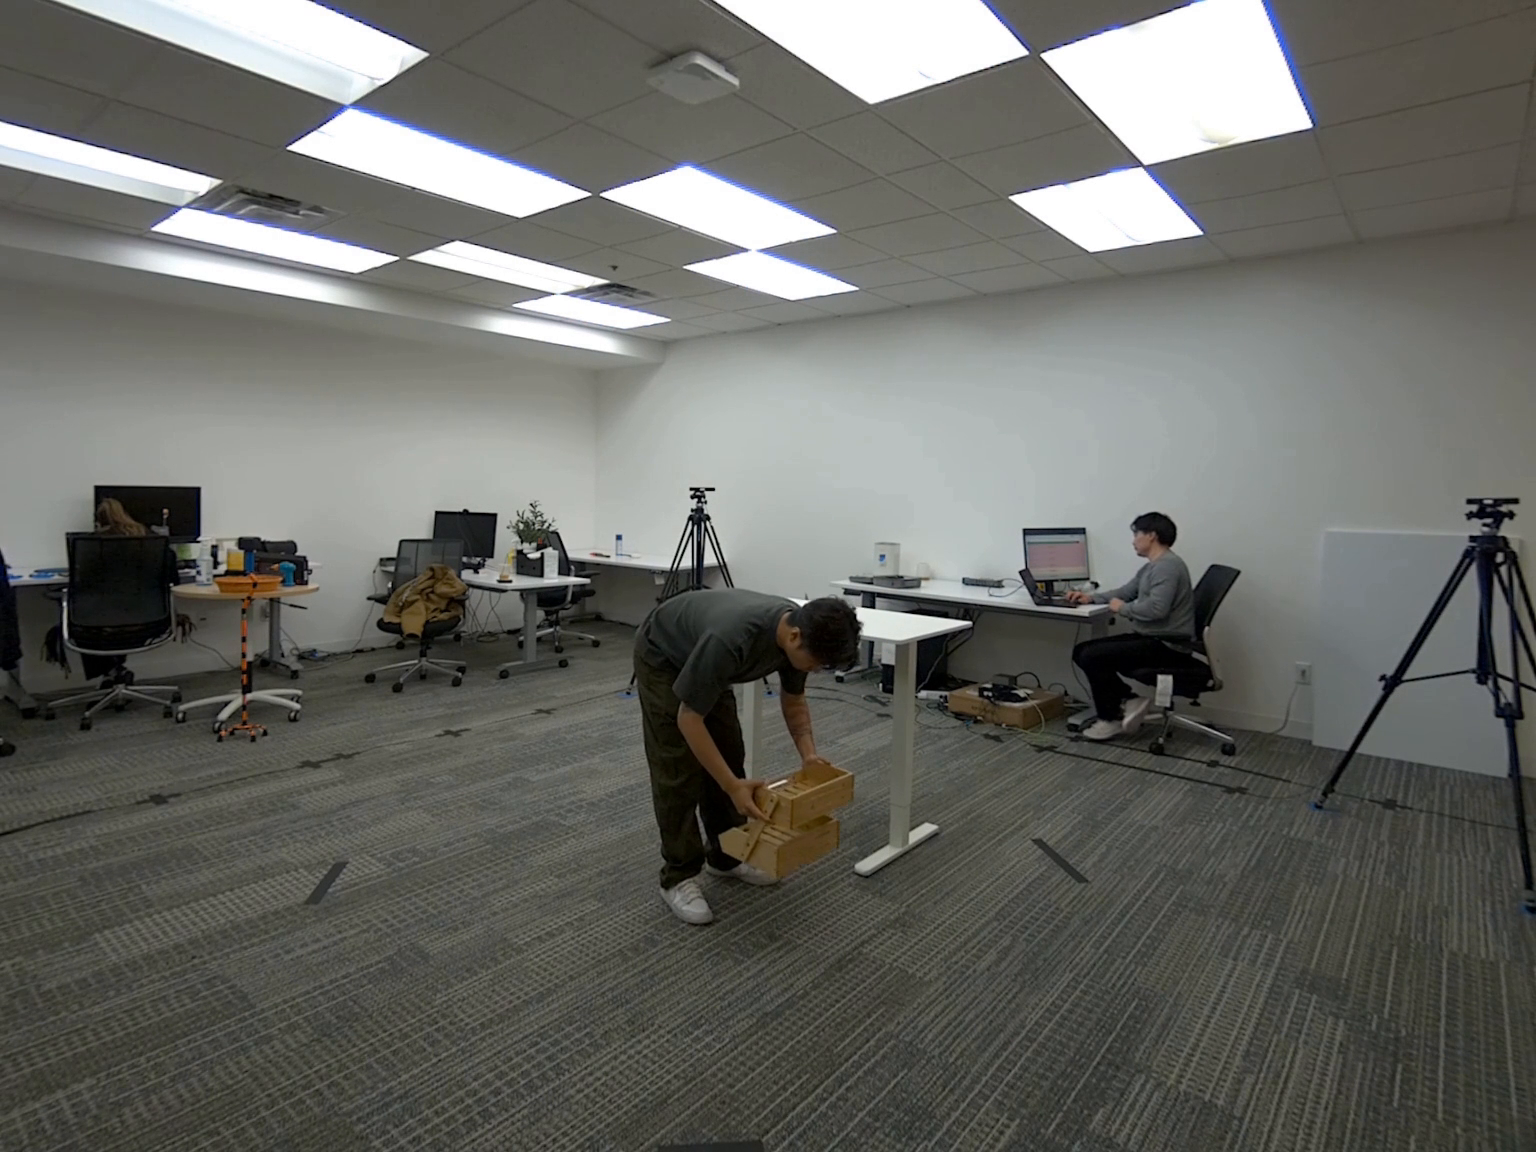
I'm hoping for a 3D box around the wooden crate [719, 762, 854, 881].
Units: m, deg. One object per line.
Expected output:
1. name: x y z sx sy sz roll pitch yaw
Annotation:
1. wooden crate: 0.053 0.742 2.680 0.313 0.271 0.315 9 11 43
